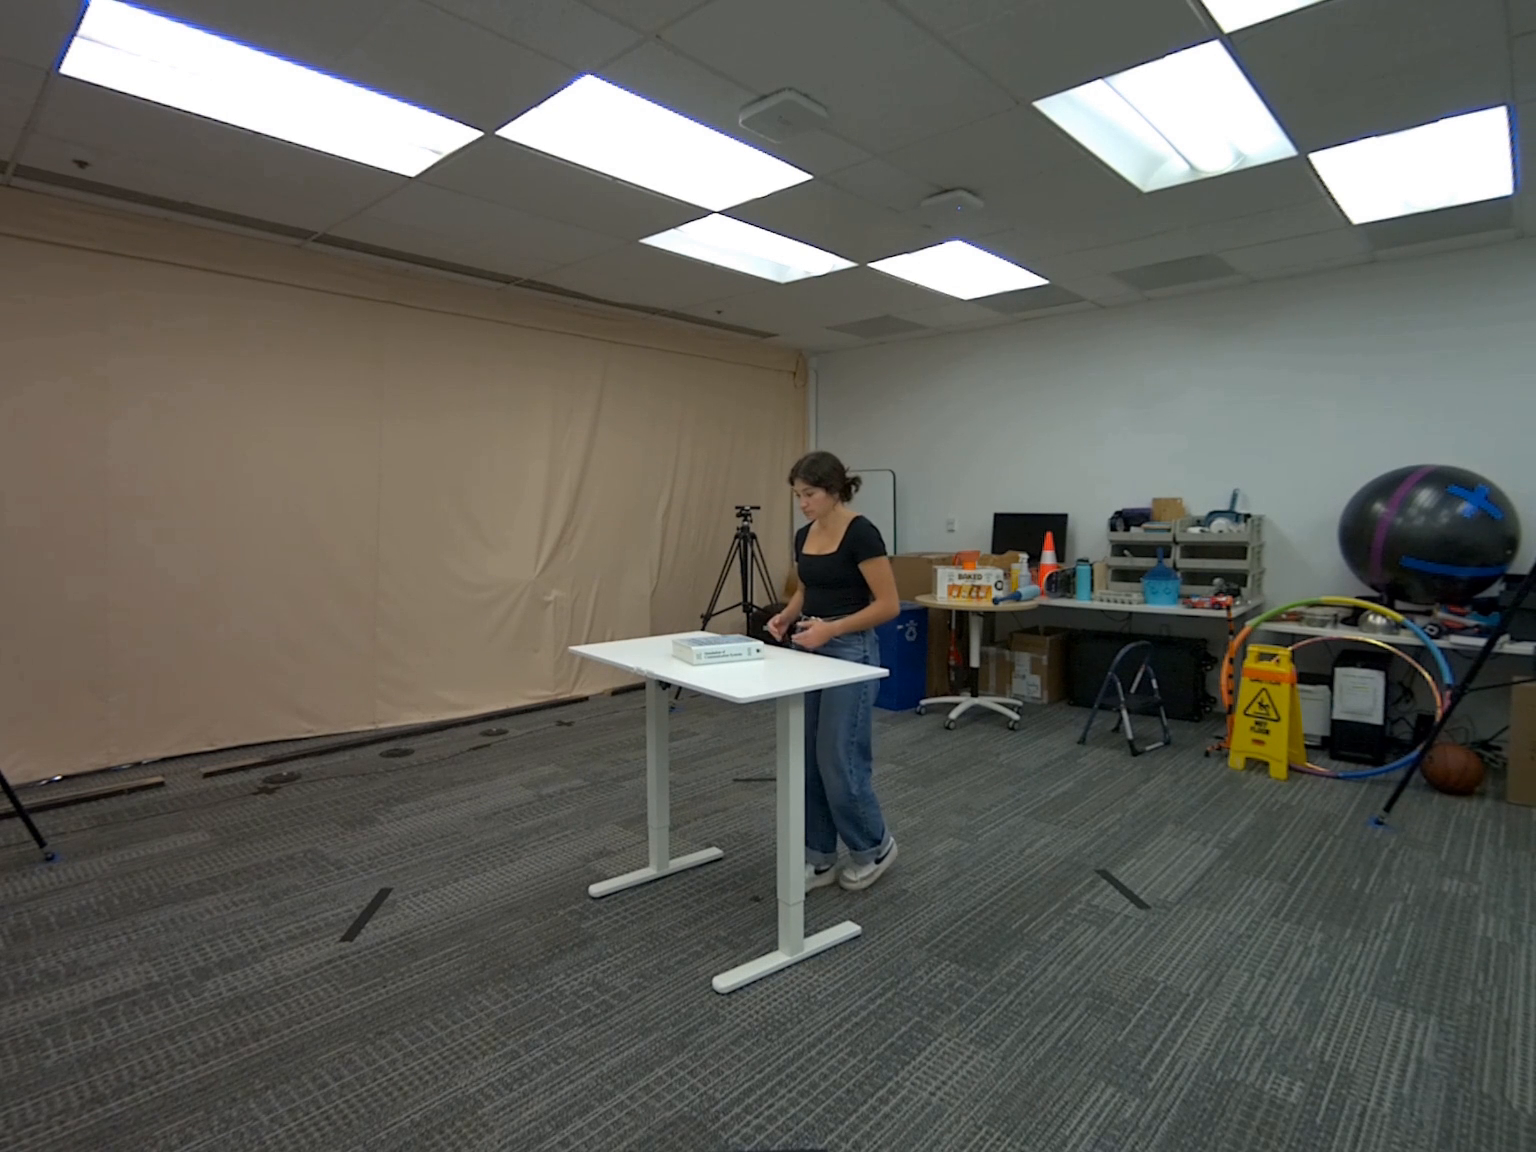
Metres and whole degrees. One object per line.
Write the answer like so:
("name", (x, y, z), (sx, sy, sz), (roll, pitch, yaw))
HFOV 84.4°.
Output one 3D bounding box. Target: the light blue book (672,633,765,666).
("light blue book", (-0.182, 0.247, 2.838), (0.254, 0.059, 0.197), (-2, 6, -27))
